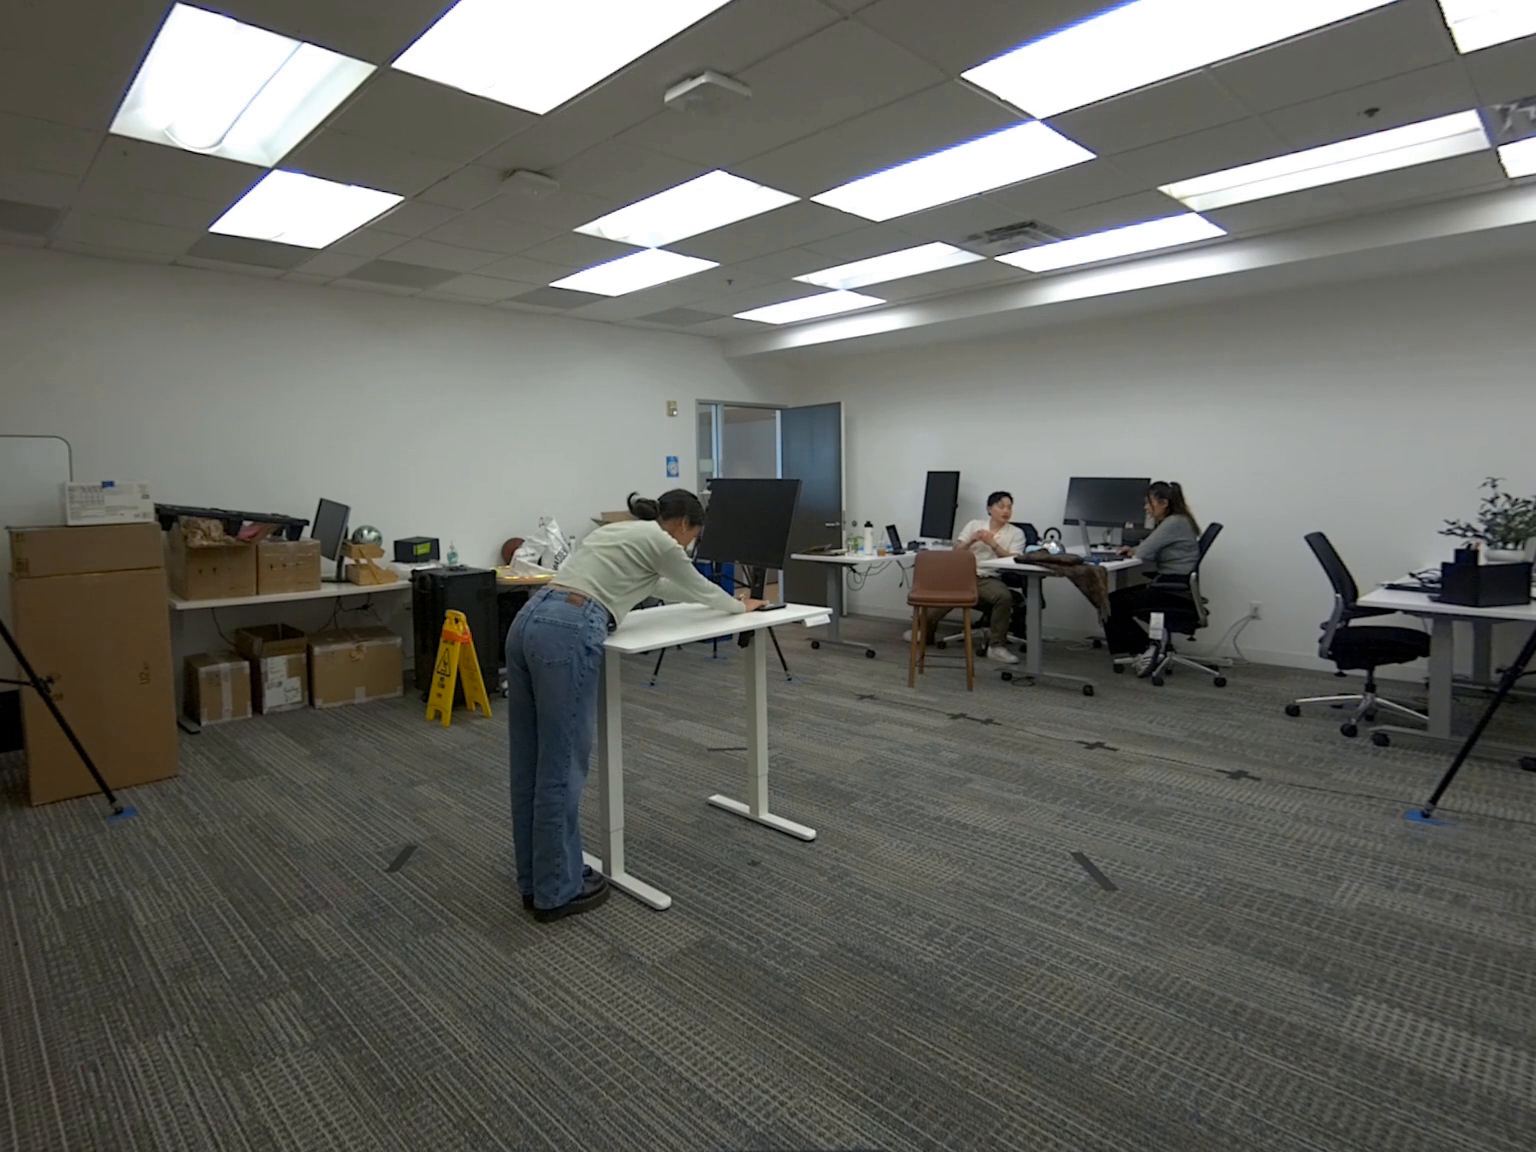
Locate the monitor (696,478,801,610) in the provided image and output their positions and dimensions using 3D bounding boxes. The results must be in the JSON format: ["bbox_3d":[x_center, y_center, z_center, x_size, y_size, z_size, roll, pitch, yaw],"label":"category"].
[{"bbox_3d":[-0.059,-0.133,3.451,0.182,0.521,0.556,-1,4,-41],"label":"monitor"}]
